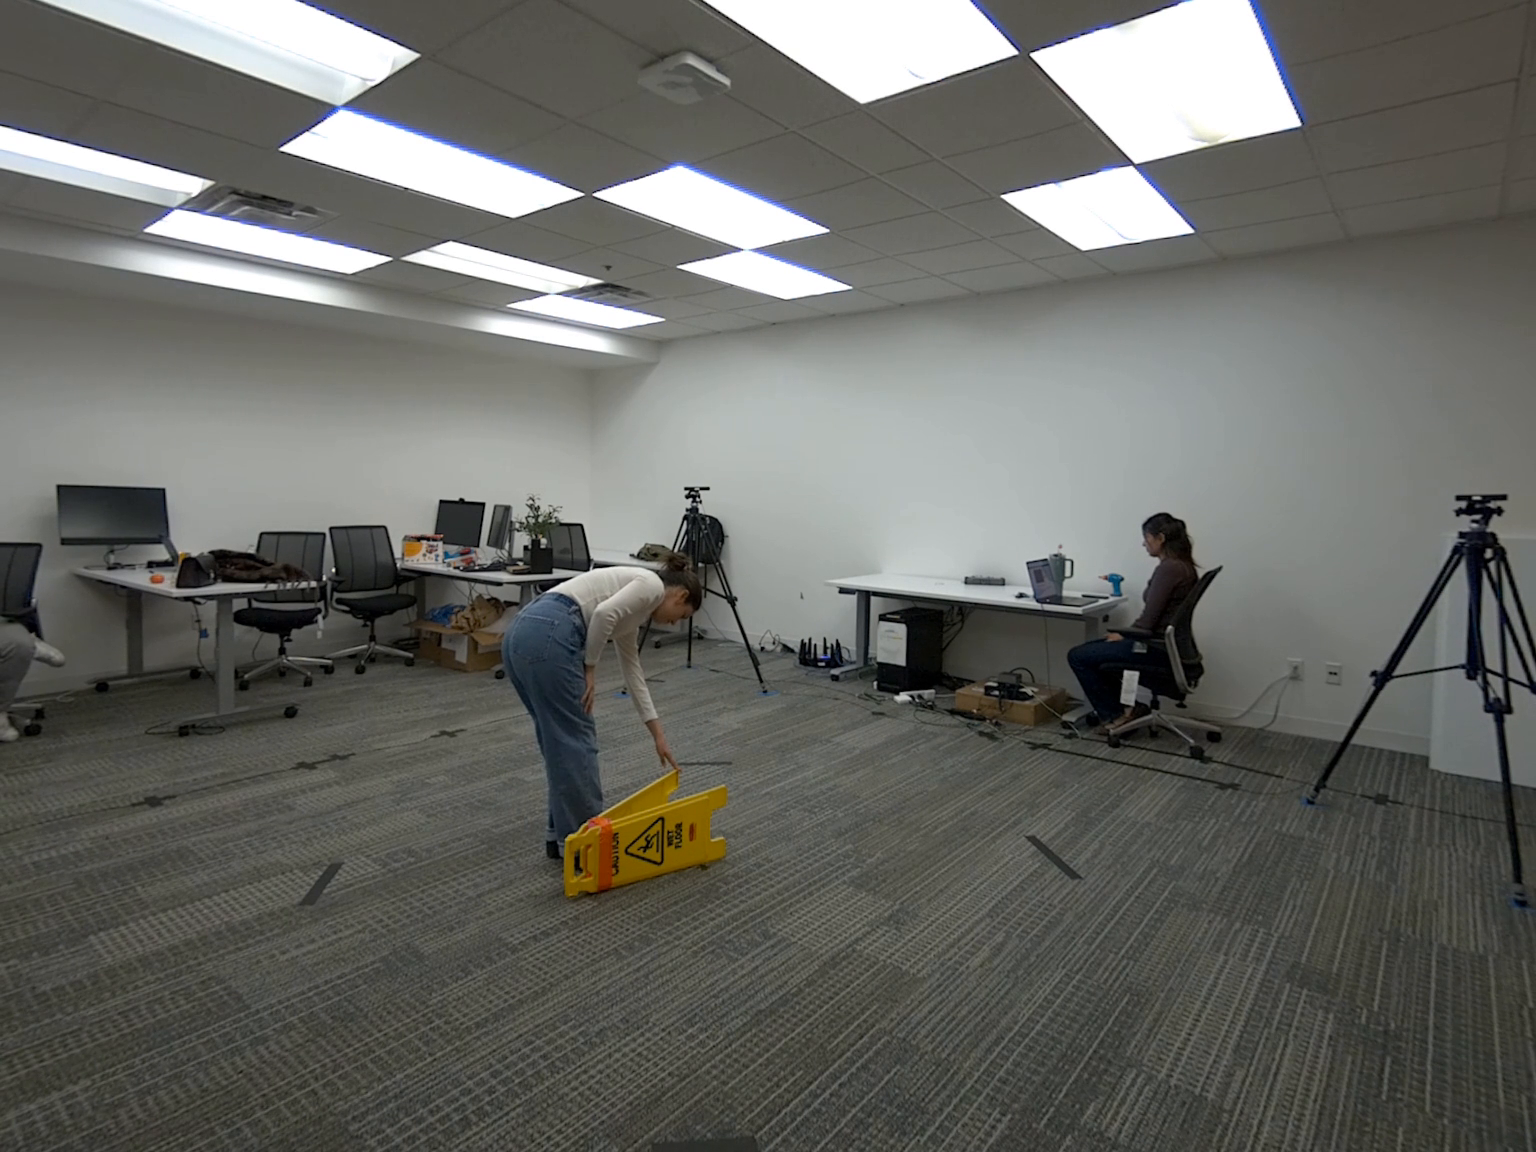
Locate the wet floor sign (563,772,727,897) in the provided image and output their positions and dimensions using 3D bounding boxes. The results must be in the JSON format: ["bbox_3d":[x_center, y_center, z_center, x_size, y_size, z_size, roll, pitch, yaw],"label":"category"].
[{"bbox_3d":[-0.471,0.940,3.051,0.299,0.281,0.628,4,7,41],"label":"wet floor sign"}]
